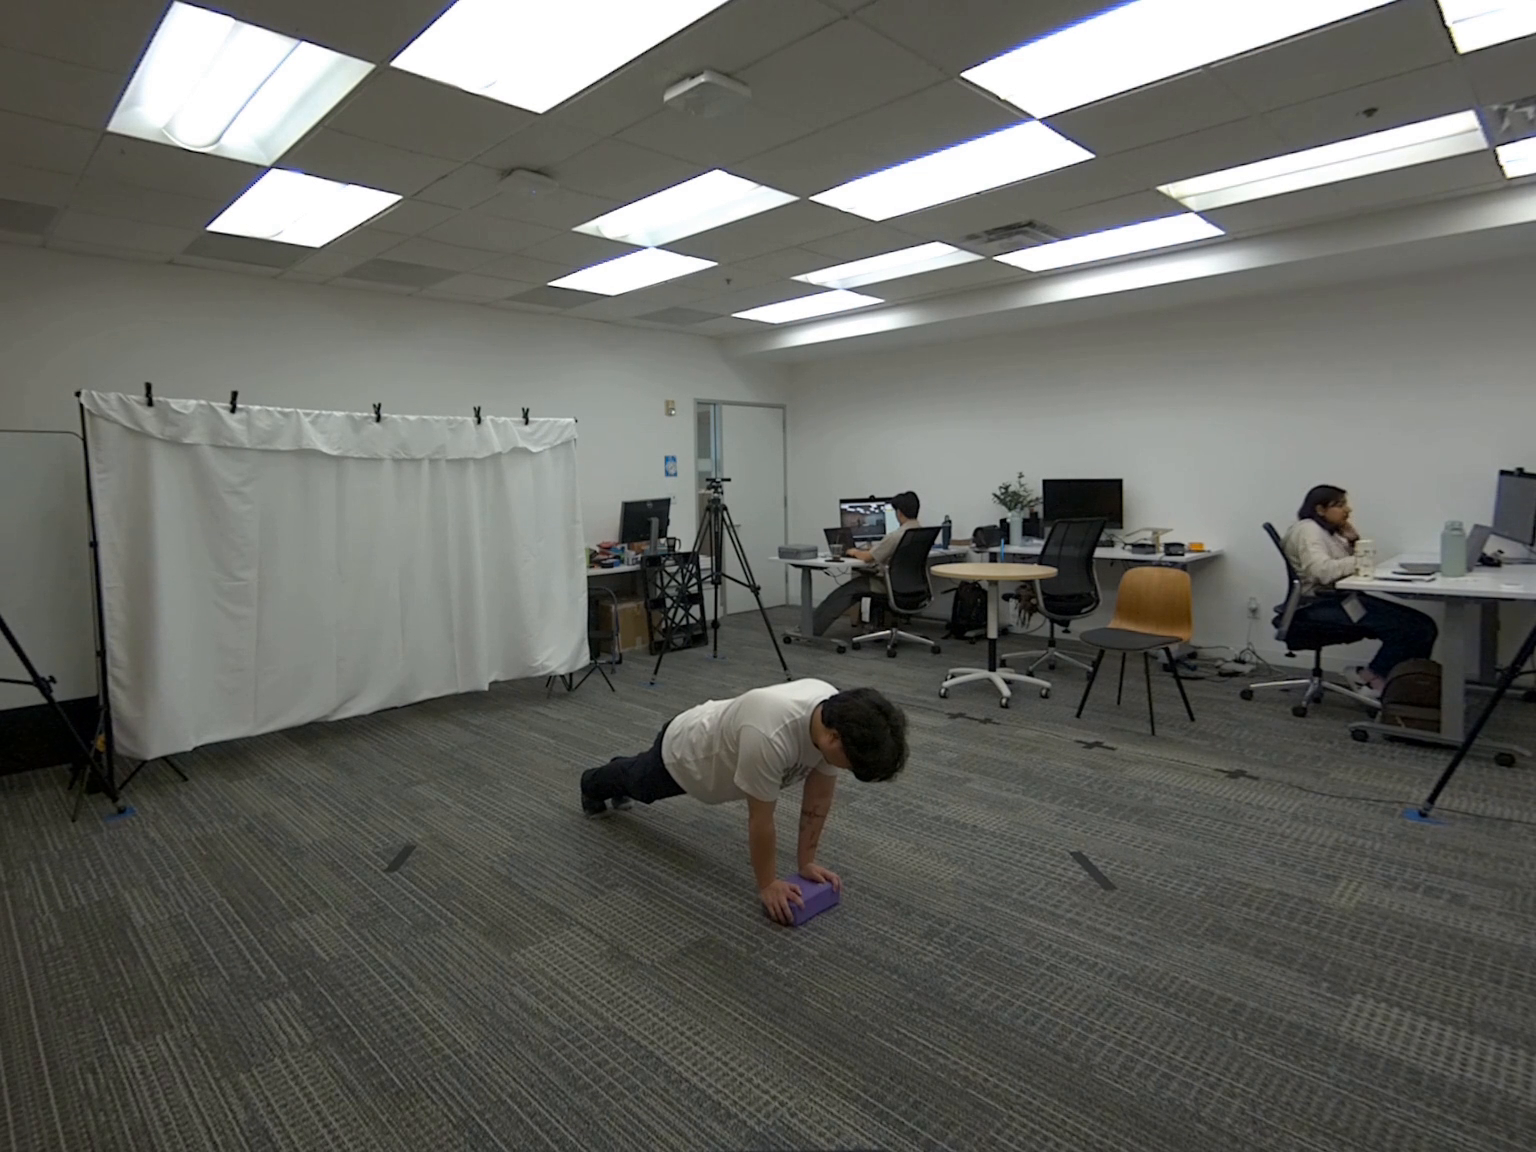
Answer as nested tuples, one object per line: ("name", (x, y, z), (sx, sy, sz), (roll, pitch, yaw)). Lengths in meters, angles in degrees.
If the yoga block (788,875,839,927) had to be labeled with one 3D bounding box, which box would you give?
("yoga block", (0.112, 1.046, 2.776), (0.153, 0.076, 0.223), (4, 8, 44))
